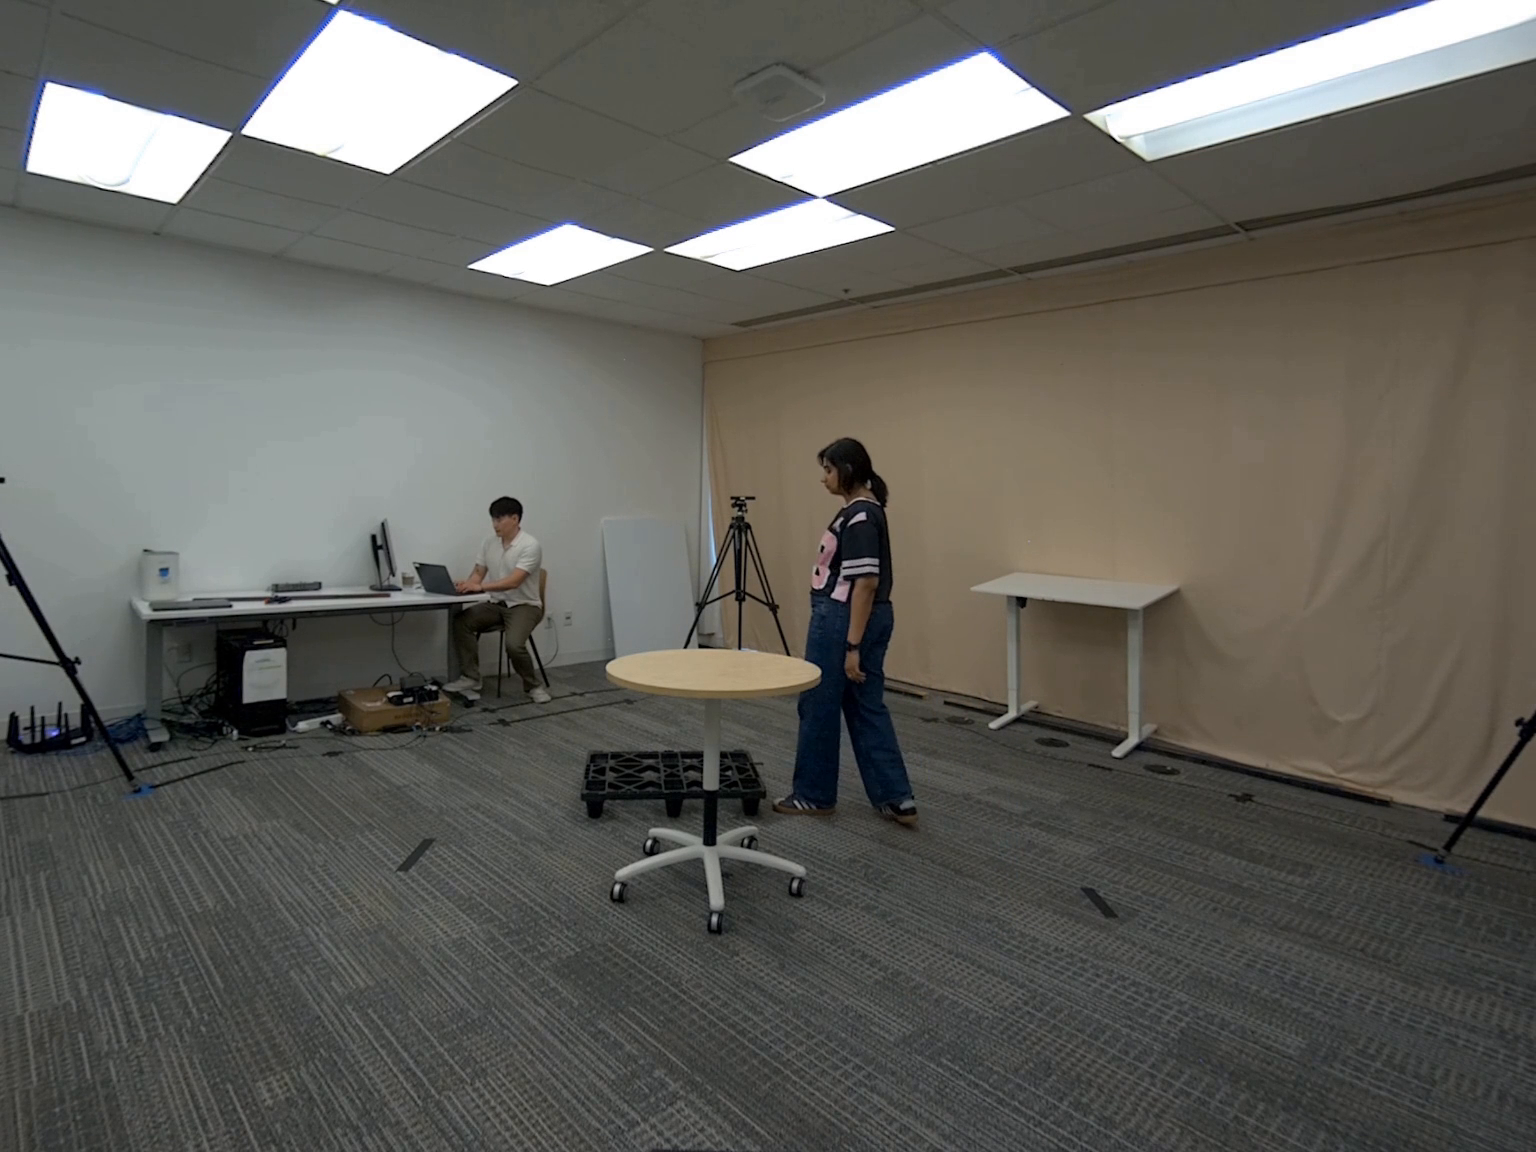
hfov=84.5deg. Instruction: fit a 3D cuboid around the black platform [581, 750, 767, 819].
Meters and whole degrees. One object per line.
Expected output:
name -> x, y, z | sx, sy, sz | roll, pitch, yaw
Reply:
black platform -> -0.451, 0.961, 3.890 | 0.801, 0.143, 0.611 | 1, 6, -8
